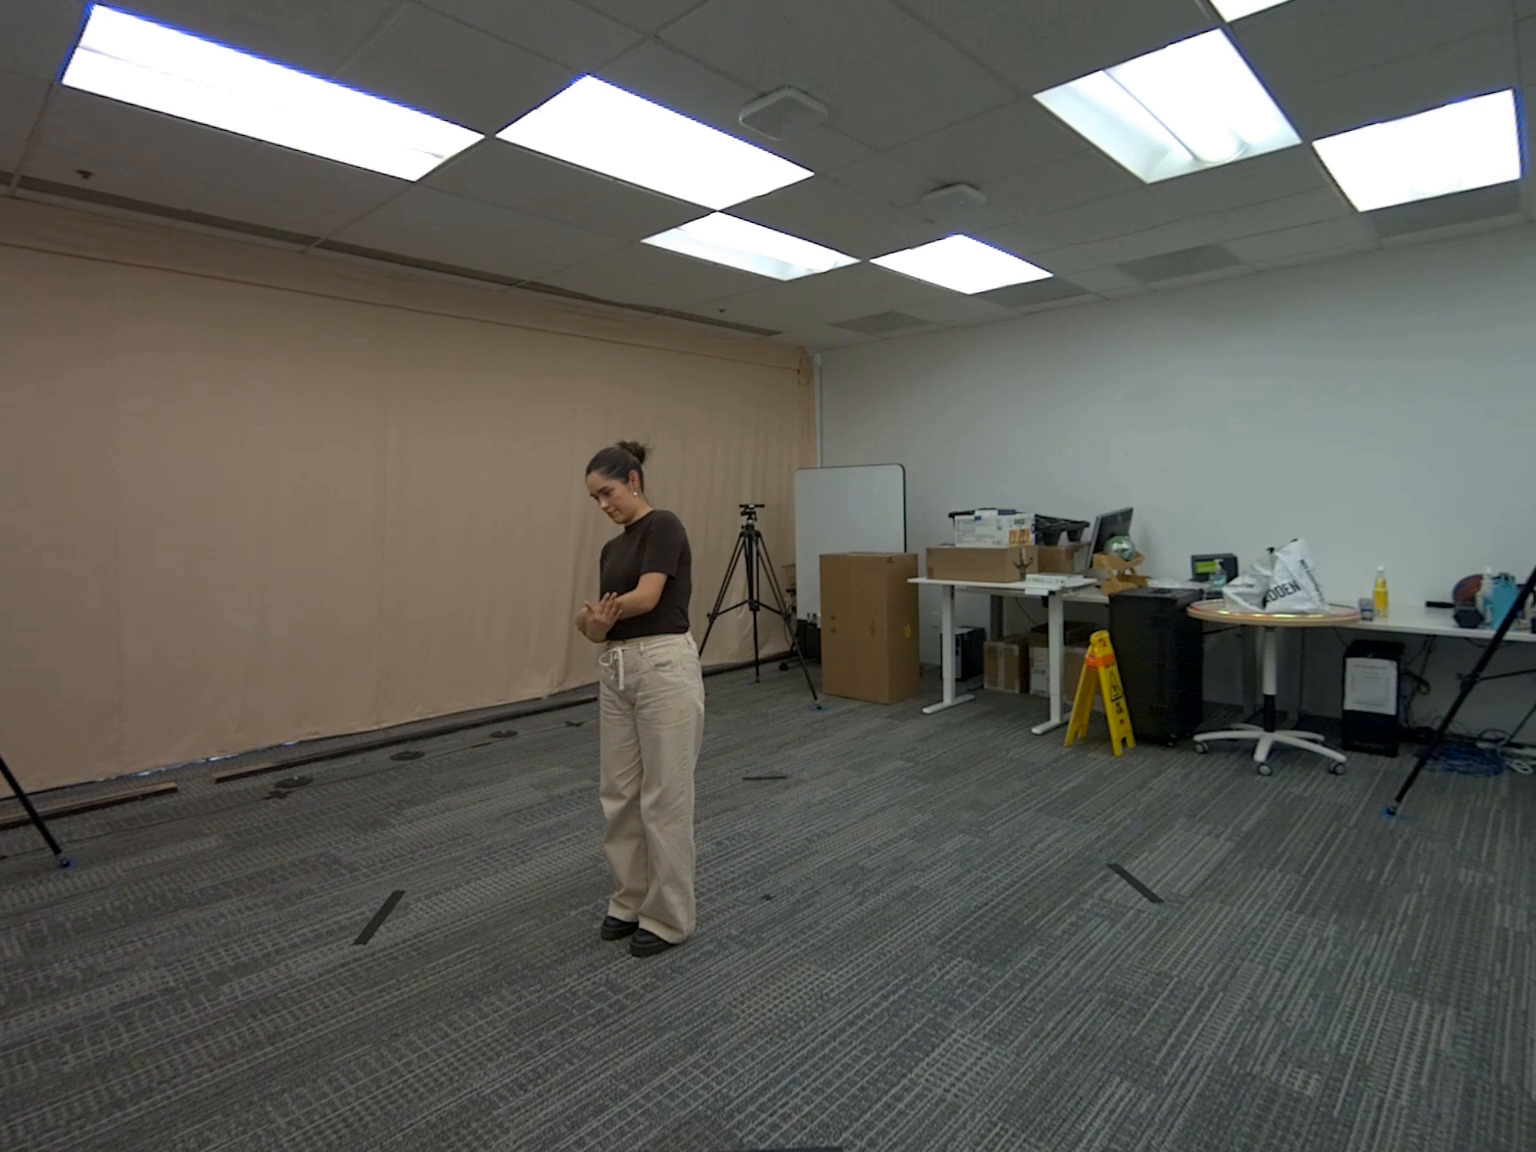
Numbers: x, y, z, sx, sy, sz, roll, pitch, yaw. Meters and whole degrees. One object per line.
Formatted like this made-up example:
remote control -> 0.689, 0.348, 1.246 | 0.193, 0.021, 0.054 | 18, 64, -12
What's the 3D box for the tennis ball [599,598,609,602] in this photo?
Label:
tennis ball -> -0.495, 0.136, 2.685 | 0.066, 0.066, 0.067 | -1, 4, -2
